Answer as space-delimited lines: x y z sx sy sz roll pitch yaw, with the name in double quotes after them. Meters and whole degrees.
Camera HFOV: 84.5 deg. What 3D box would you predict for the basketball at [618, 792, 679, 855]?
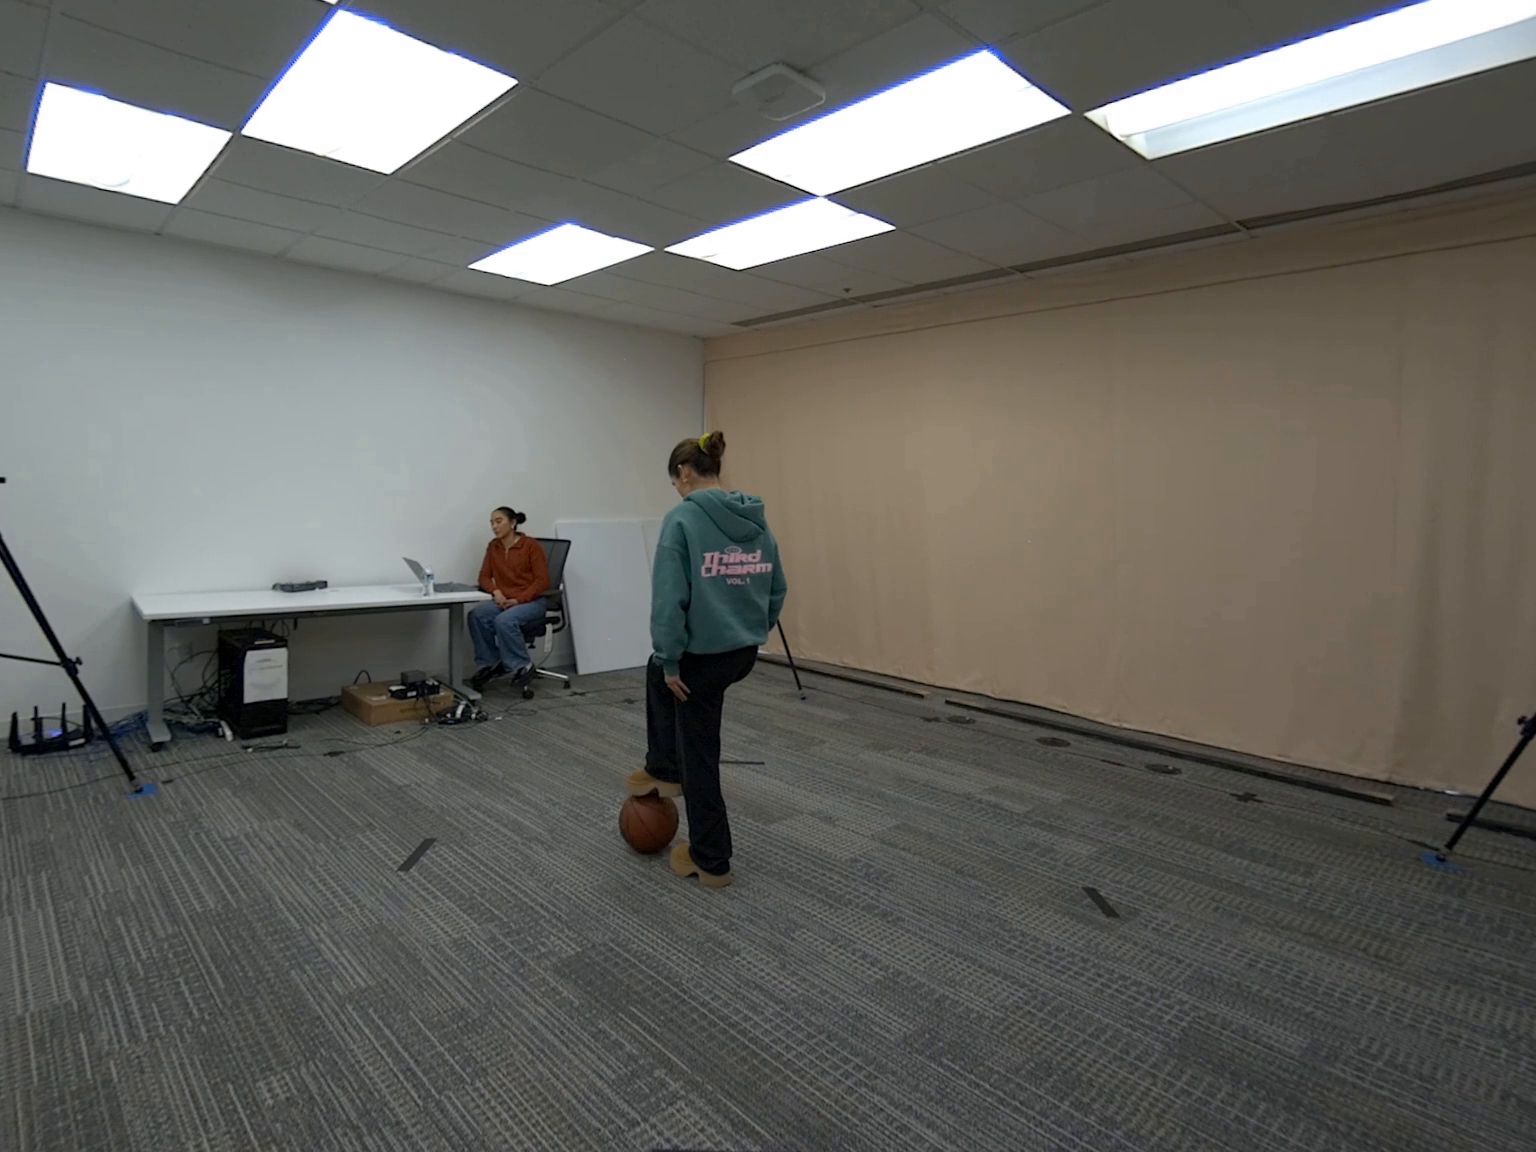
-0.477 0.959 3.311 0.236 0.235 0.237 1 4 -1 "basketball"
